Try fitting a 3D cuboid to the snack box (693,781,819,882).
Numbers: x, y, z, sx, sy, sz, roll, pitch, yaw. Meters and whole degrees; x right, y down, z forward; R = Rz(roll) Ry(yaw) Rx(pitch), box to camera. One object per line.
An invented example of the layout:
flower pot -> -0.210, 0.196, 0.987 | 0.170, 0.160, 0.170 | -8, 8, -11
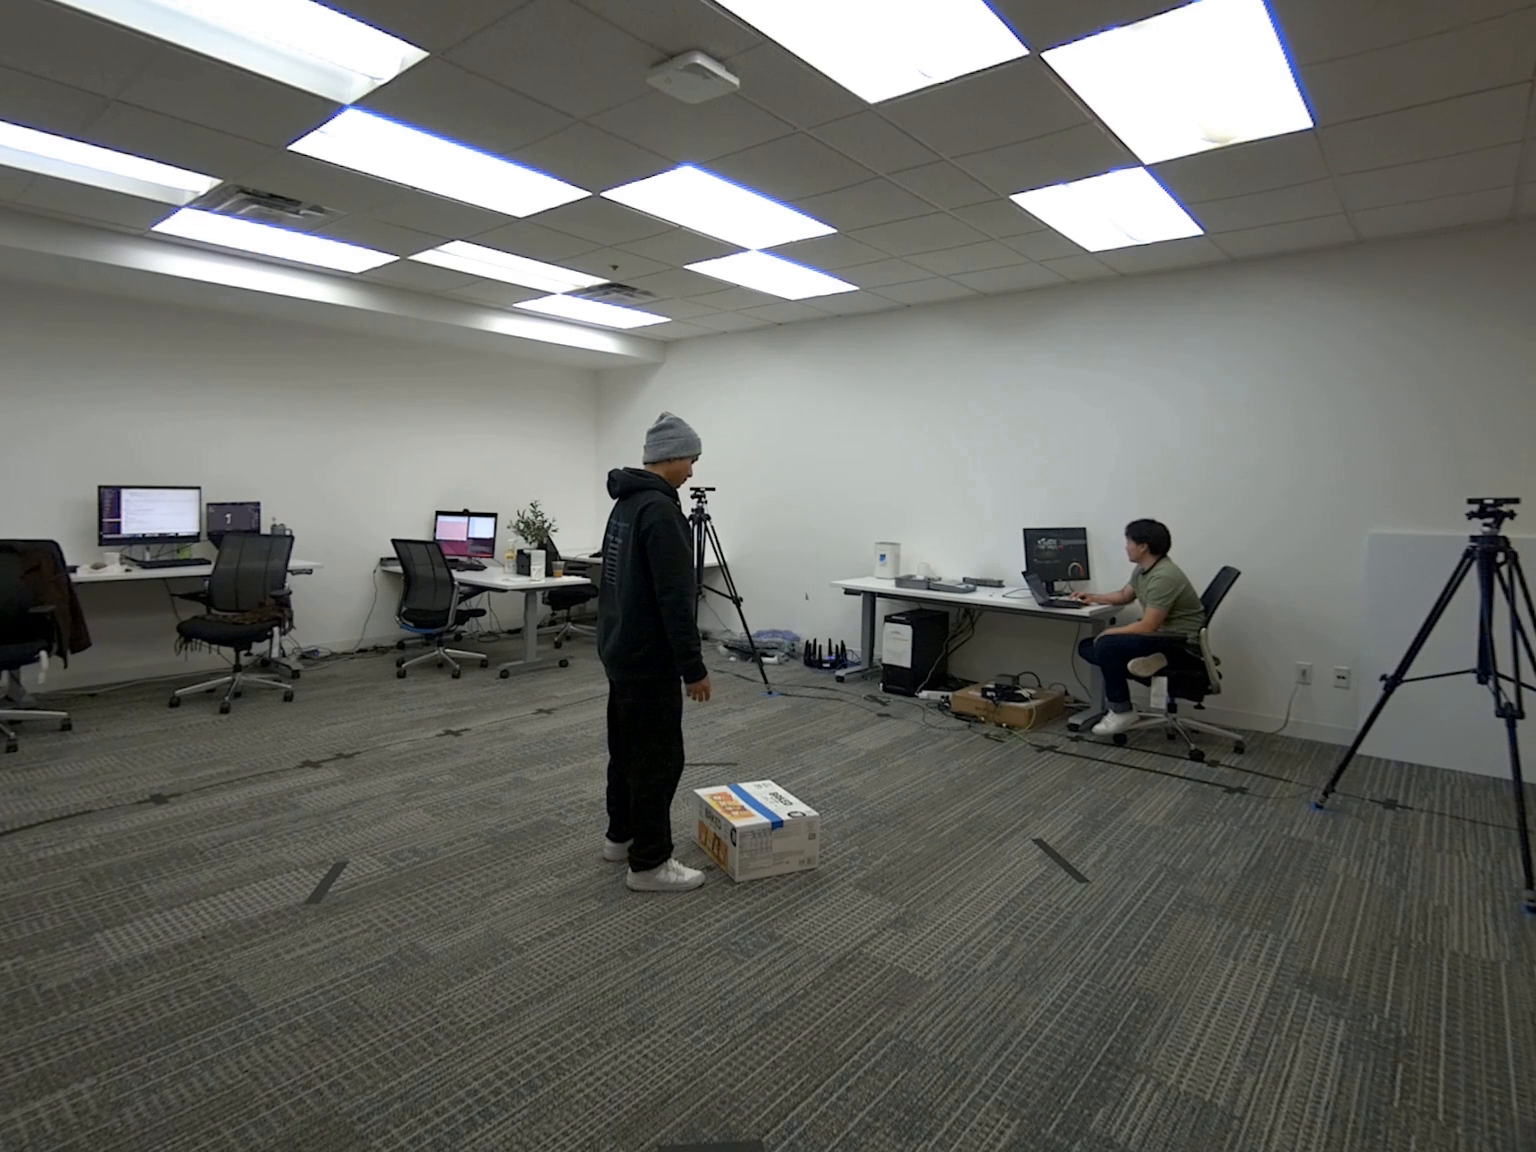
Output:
snack box -> -0.063, 0.955, 3.235 | 0.332, 0.205, 0.417 | -2, 6, -26
